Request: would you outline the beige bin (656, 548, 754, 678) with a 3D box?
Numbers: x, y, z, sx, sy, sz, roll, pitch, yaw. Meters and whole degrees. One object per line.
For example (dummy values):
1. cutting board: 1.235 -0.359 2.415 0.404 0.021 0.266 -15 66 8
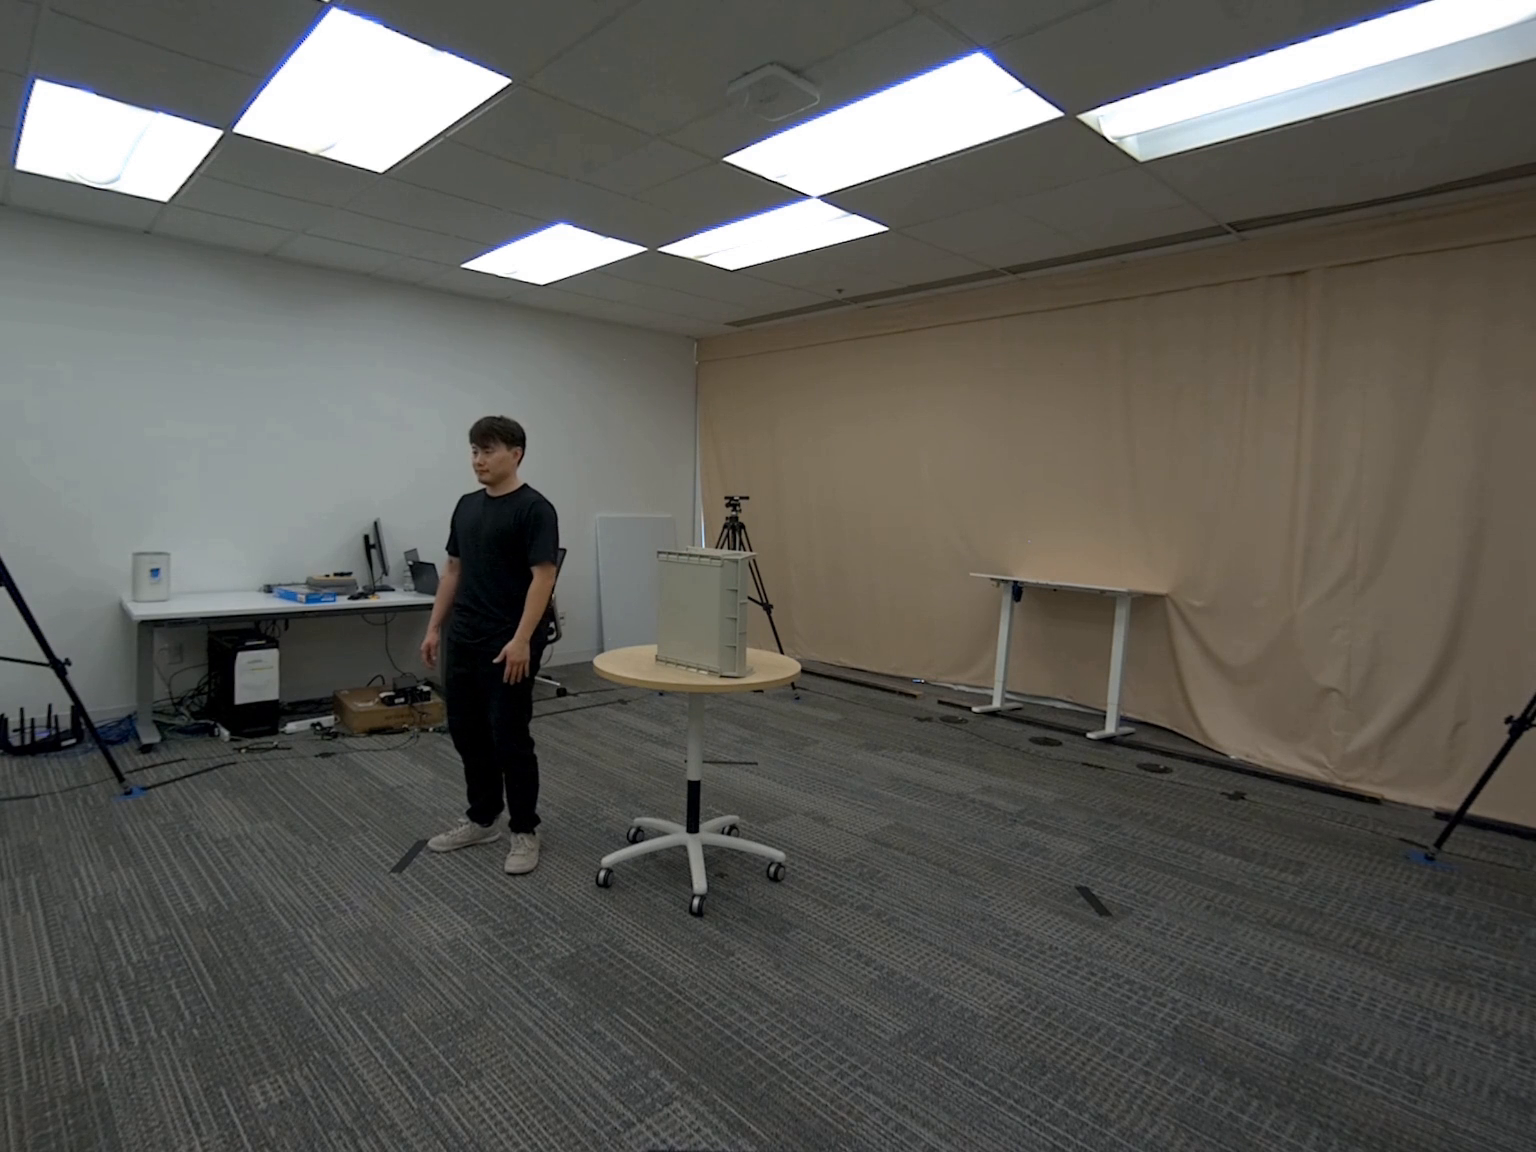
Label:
1. beige bin: -0.216 0.121 2.991 0.387 0.421 0.185 6 7 40
